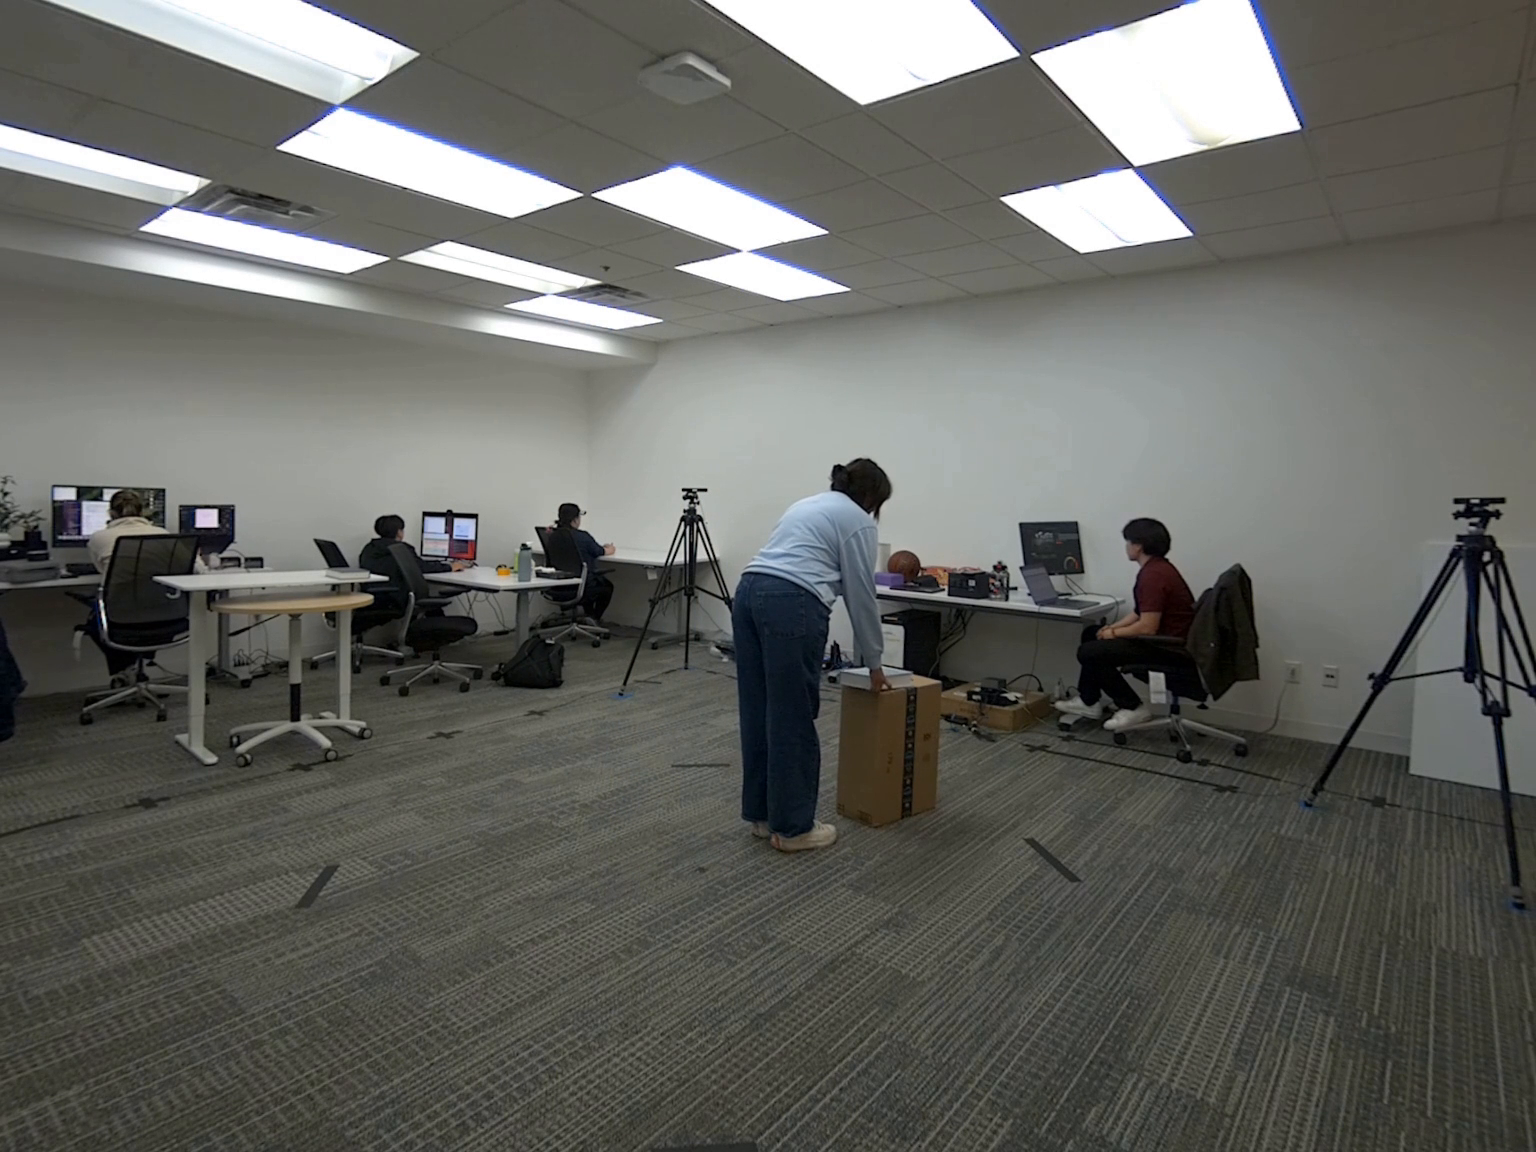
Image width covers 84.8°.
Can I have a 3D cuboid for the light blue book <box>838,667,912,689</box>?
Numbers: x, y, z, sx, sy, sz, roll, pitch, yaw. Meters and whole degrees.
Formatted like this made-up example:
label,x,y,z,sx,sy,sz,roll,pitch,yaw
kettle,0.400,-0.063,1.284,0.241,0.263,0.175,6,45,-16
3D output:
label,x,y,z,sx,sy,sz,roll,pitch,yaw
light blue book,0.453,0.430,3.630,0.253,0.059,0.198,0,4,-41
